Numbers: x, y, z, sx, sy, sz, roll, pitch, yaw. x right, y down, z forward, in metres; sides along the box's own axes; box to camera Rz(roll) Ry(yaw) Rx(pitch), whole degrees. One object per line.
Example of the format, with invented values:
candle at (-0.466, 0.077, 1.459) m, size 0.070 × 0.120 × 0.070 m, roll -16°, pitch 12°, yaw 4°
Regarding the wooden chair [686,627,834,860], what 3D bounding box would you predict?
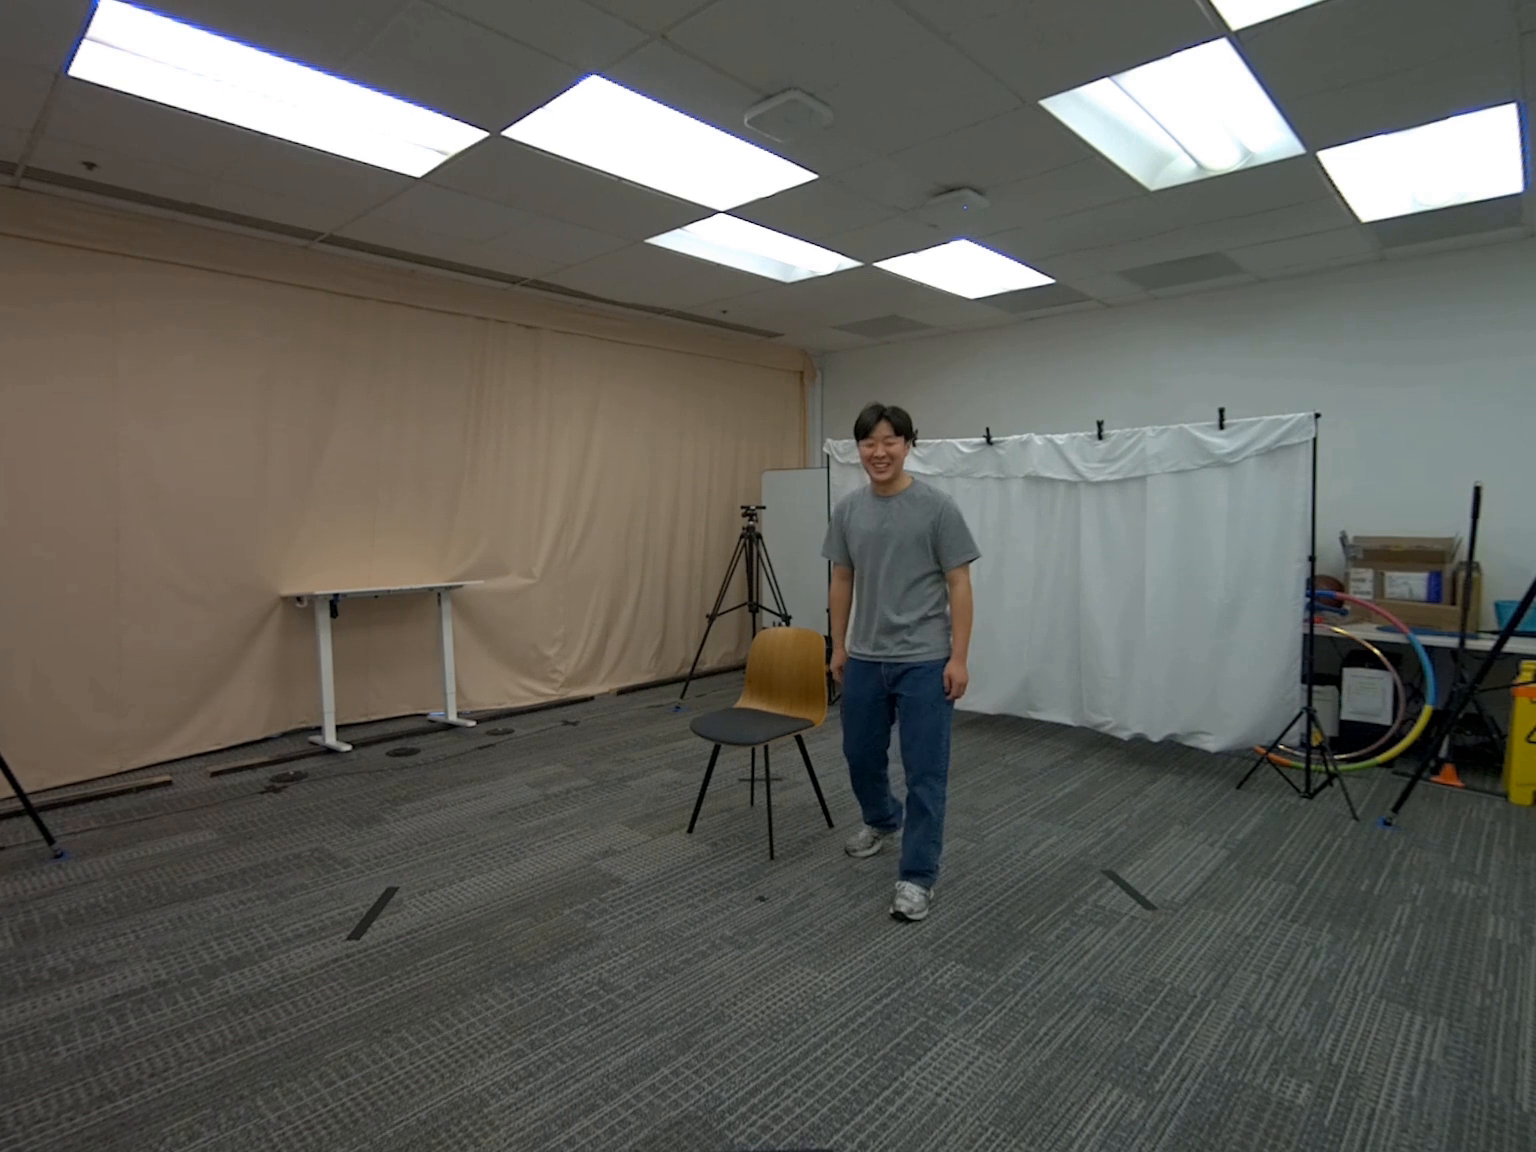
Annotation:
wooden chair at (-0.034, 0.667, 3.584) m, size 0.493 × 0.878 × 0.506 m, roll 2°, pitch -1°, yaw 38°
